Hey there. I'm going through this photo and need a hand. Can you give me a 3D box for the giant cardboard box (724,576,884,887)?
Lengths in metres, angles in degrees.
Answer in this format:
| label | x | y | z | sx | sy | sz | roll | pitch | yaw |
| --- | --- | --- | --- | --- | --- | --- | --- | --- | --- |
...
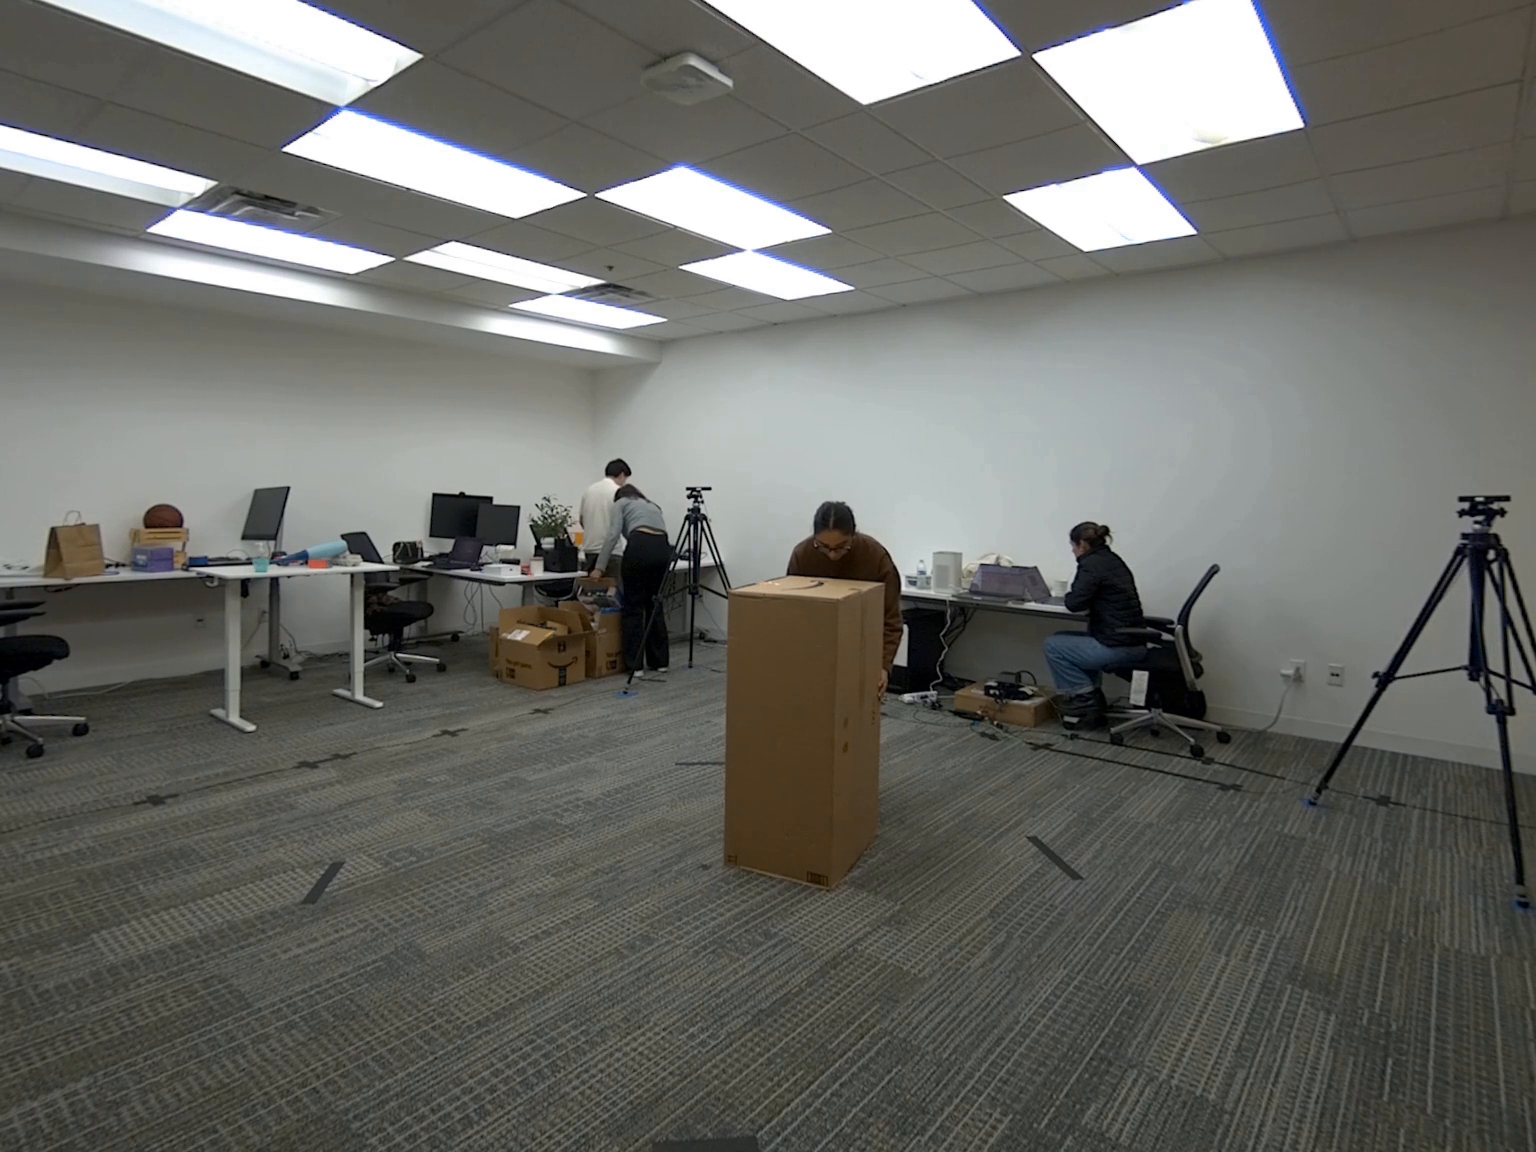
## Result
| label | x | y | z | sx | sy | sz | roll | pitch | yaw |
| --- | --- | --- | --- | --- | --- | --- | --- | --- | --- |
| giant cardboard box | 0.138 | 0.548 | 3.257 | 0.437 | 1.022 | 0.565 | 3 | 5 | 25 |
